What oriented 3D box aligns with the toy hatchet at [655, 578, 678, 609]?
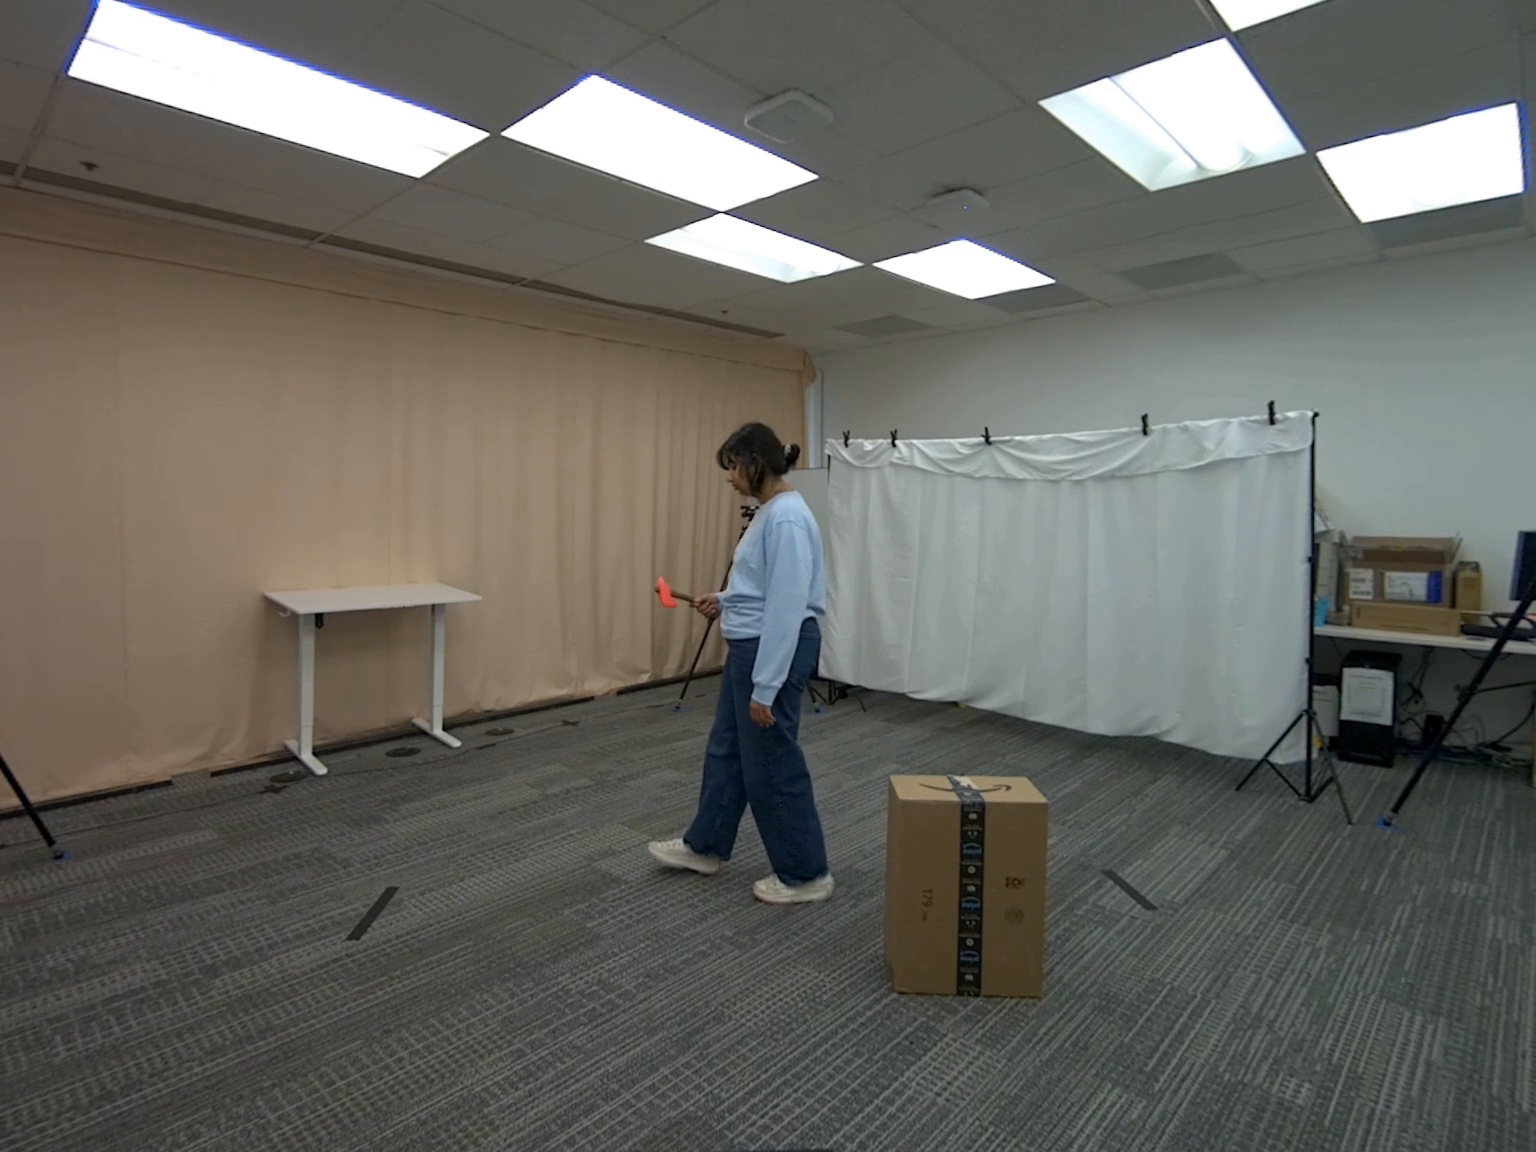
[{"bbox_3d":[-0.289,0.102,3.002,0.264,0.030,0.133,31,34,-17],"label":"toy hatchet"}]
